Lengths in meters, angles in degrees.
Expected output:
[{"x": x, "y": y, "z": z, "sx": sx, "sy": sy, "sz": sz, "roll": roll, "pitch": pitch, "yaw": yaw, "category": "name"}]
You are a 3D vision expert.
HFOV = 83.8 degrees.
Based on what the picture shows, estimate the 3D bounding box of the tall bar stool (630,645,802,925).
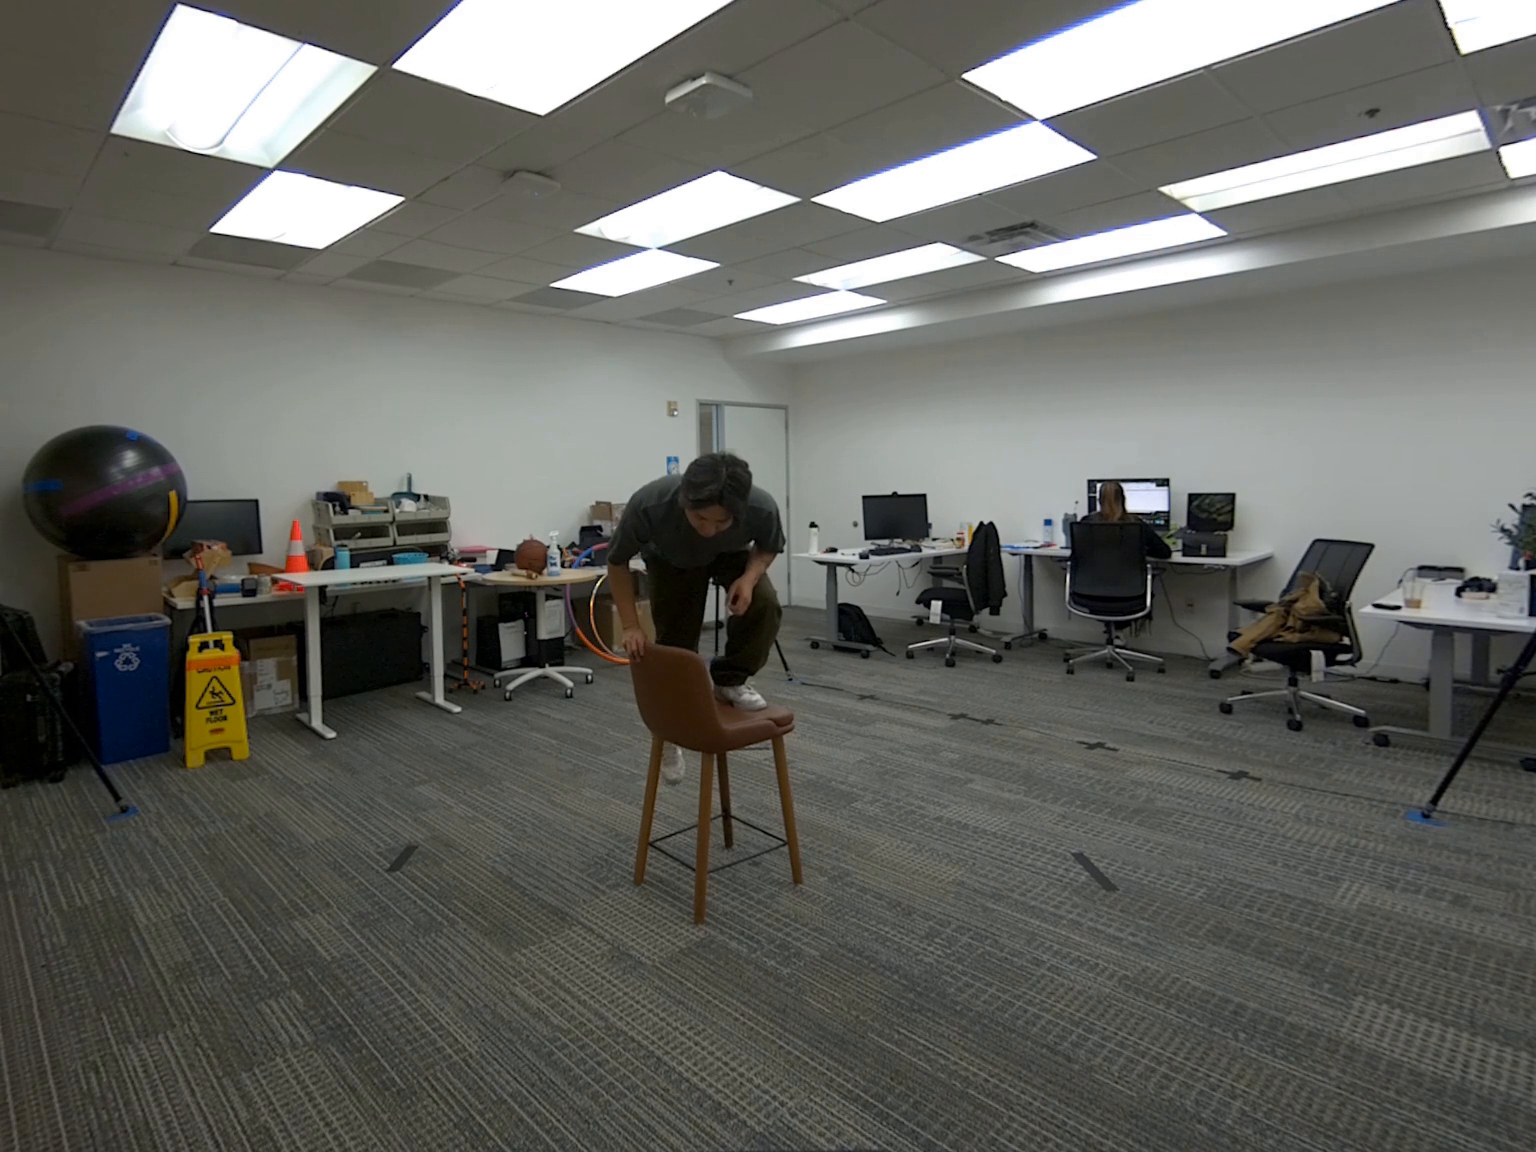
[{"x": -0.187, "y": 0.631, "z": 2.933, "sx": 0.456, "sy": 0.885, "sz": 0.470, "roll": -7, "pitch": 8, "yaw": -40, "category": "tall bar stool"}]
